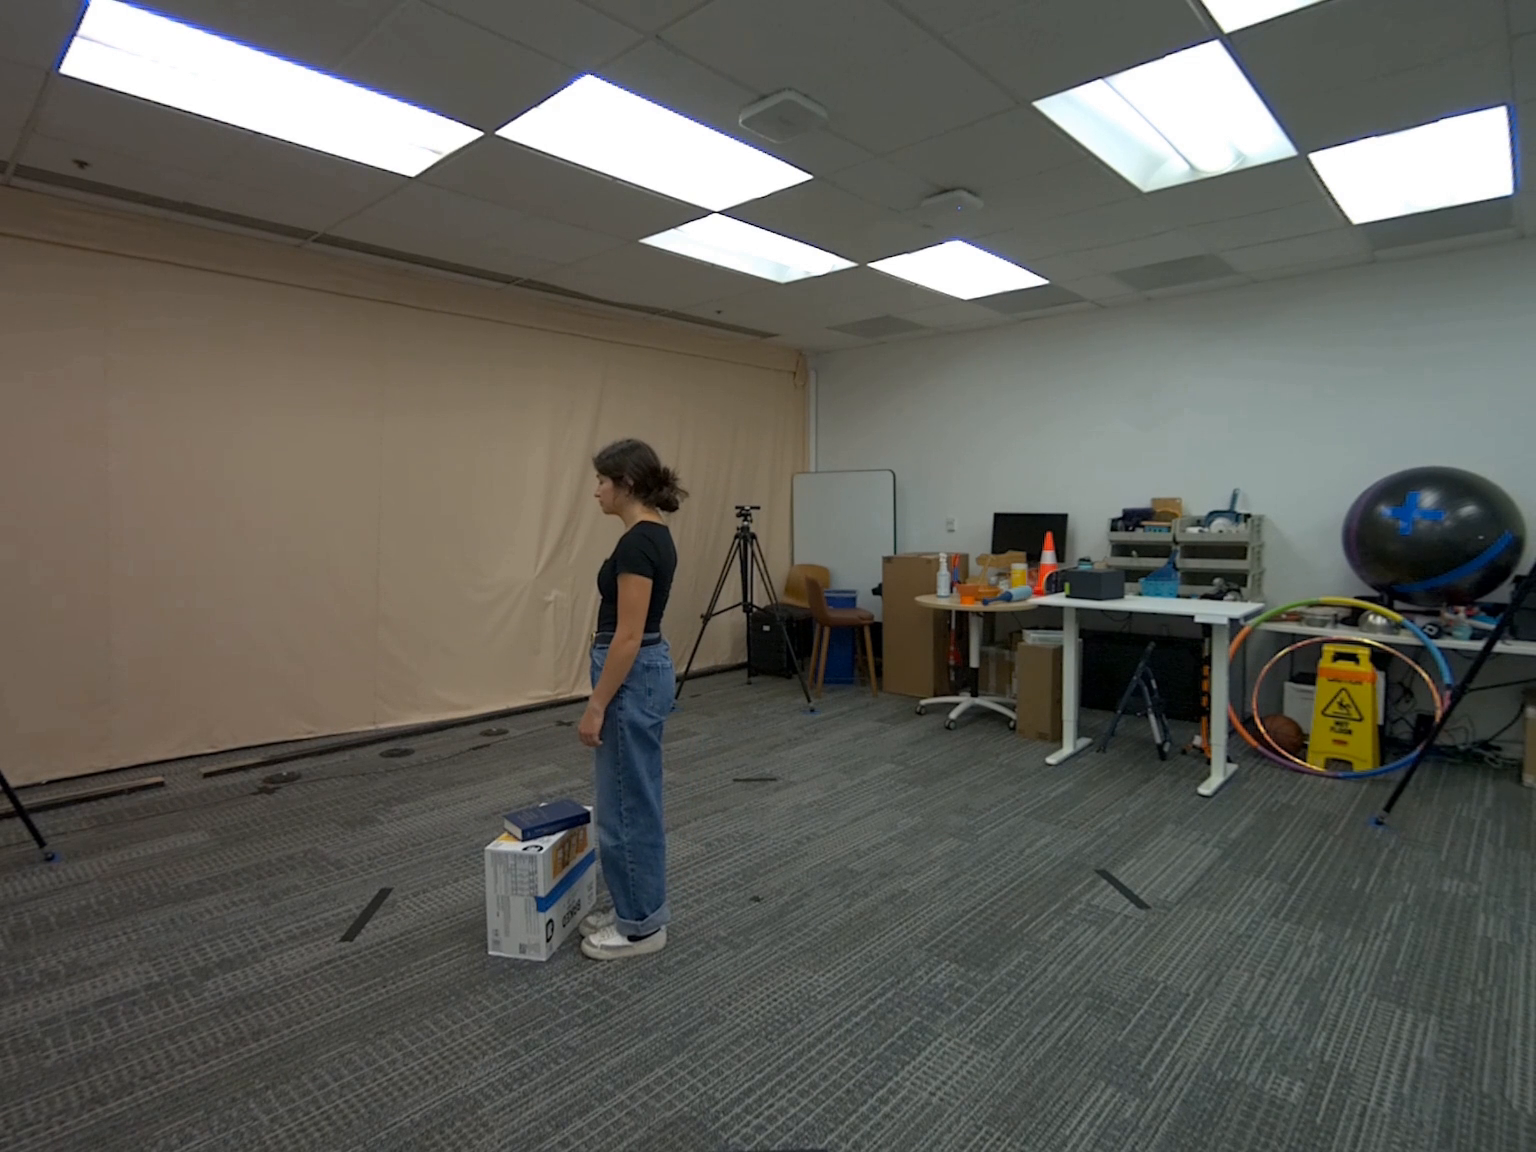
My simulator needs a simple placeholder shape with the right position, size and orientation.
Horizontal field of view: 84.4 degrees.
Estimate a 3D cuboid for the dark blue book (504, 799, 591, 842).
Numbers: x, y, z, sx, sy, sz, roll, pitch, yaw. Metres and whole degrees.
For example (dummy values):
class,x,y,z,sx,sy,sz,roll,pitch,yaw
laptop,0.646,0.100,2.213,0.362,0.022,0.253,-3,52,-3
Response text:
class,x,y,z,sx,sy,sz,roll,pitch,yaw
dark blue book,-0.733,0.807,2.794,0.238,0.045,0.168,-5,6,-37
